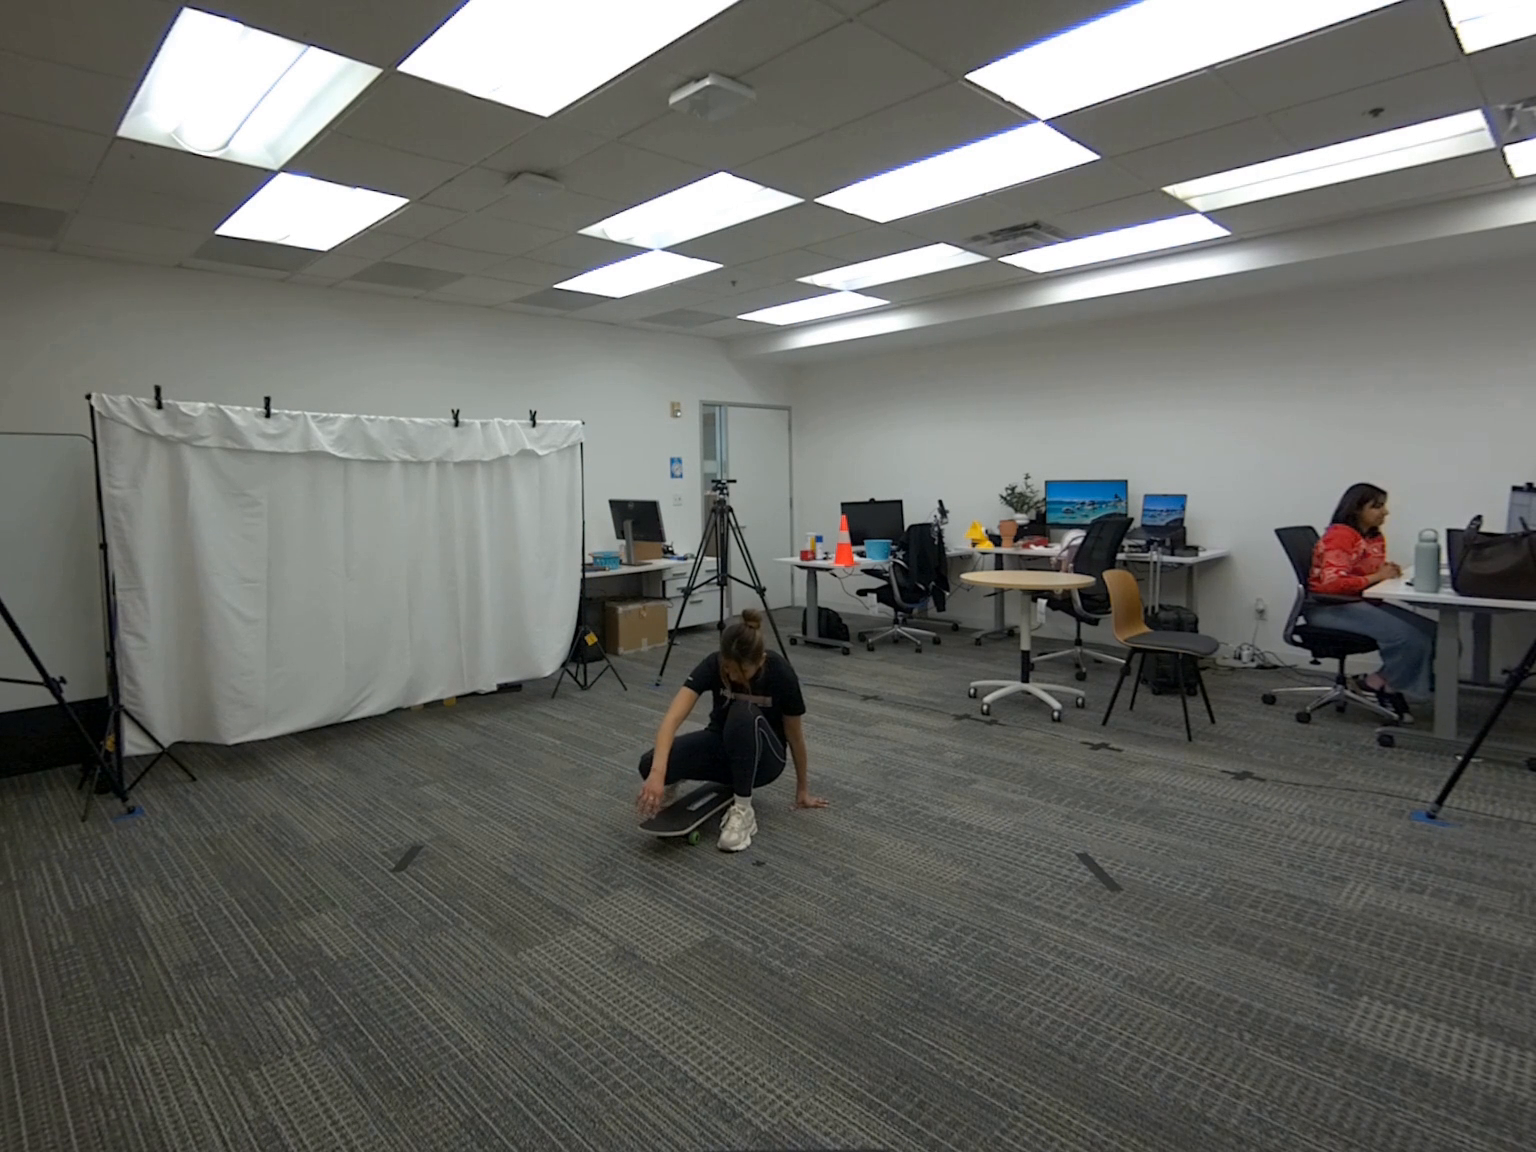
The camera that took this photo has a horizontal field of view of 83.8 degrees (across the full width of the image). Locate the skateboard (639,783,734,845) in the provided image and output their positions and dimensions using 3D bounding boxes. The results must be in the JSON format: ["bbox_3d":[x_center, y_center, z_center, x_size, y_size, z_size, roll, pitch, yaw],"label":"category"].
[{"bbox_3d":[-0.266,0.942,3.490,0.198,0.110,0.769,0,5,27],"label":"skateboard"}]
